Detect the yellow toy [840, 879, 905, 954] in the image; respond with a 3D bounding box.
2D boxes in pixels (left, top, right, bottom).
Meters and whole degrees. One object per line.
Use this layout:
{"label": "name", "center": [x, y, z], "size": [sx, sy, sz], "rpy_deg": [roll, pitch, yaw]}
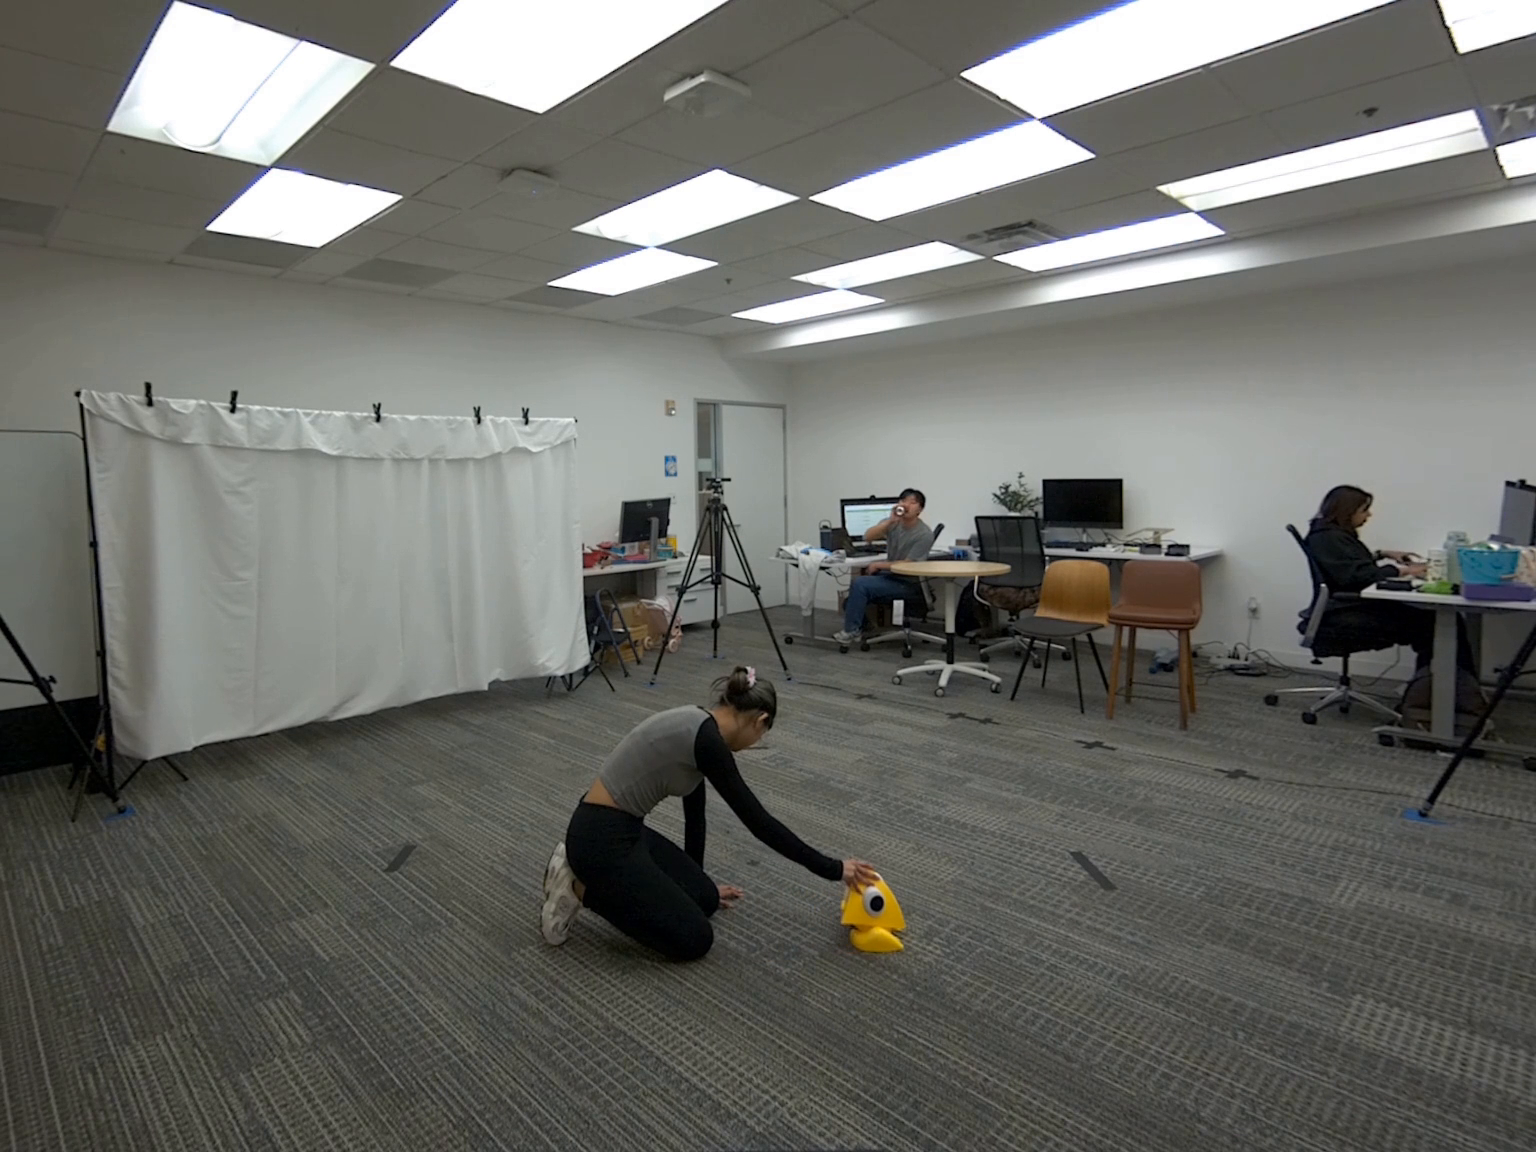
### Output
{"label": "yellow toy", "center": [0.328, 0.982, 2.597], "size": [0.195, 0.230, 0.203], "rpy_deg": [-1, 4, 10]}
